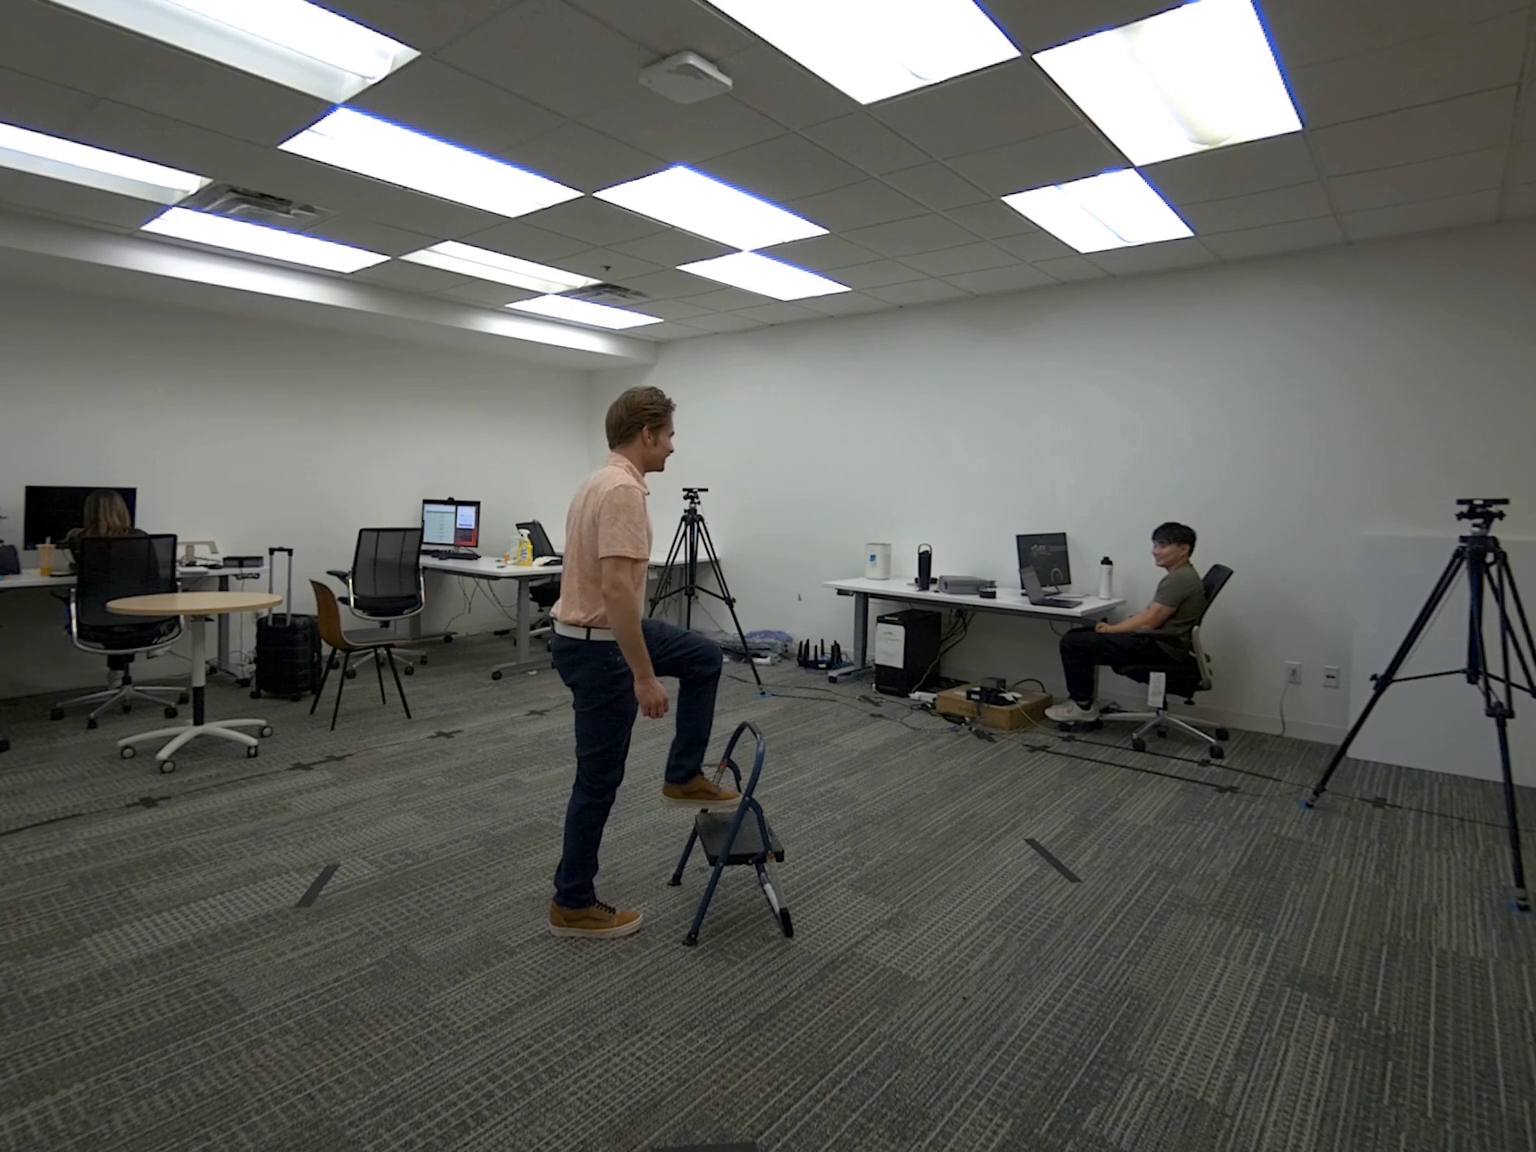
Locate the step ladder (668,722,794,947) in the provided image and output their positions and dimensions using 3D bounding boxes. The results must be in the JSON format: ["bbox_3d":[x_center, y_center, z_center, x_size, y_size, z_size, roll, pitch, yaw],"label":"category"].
[{"bbox_3d":[-0.131,0.803,2.802,0.345,0.604,0.437,0,4,-13],"label":"step ladder"}]
